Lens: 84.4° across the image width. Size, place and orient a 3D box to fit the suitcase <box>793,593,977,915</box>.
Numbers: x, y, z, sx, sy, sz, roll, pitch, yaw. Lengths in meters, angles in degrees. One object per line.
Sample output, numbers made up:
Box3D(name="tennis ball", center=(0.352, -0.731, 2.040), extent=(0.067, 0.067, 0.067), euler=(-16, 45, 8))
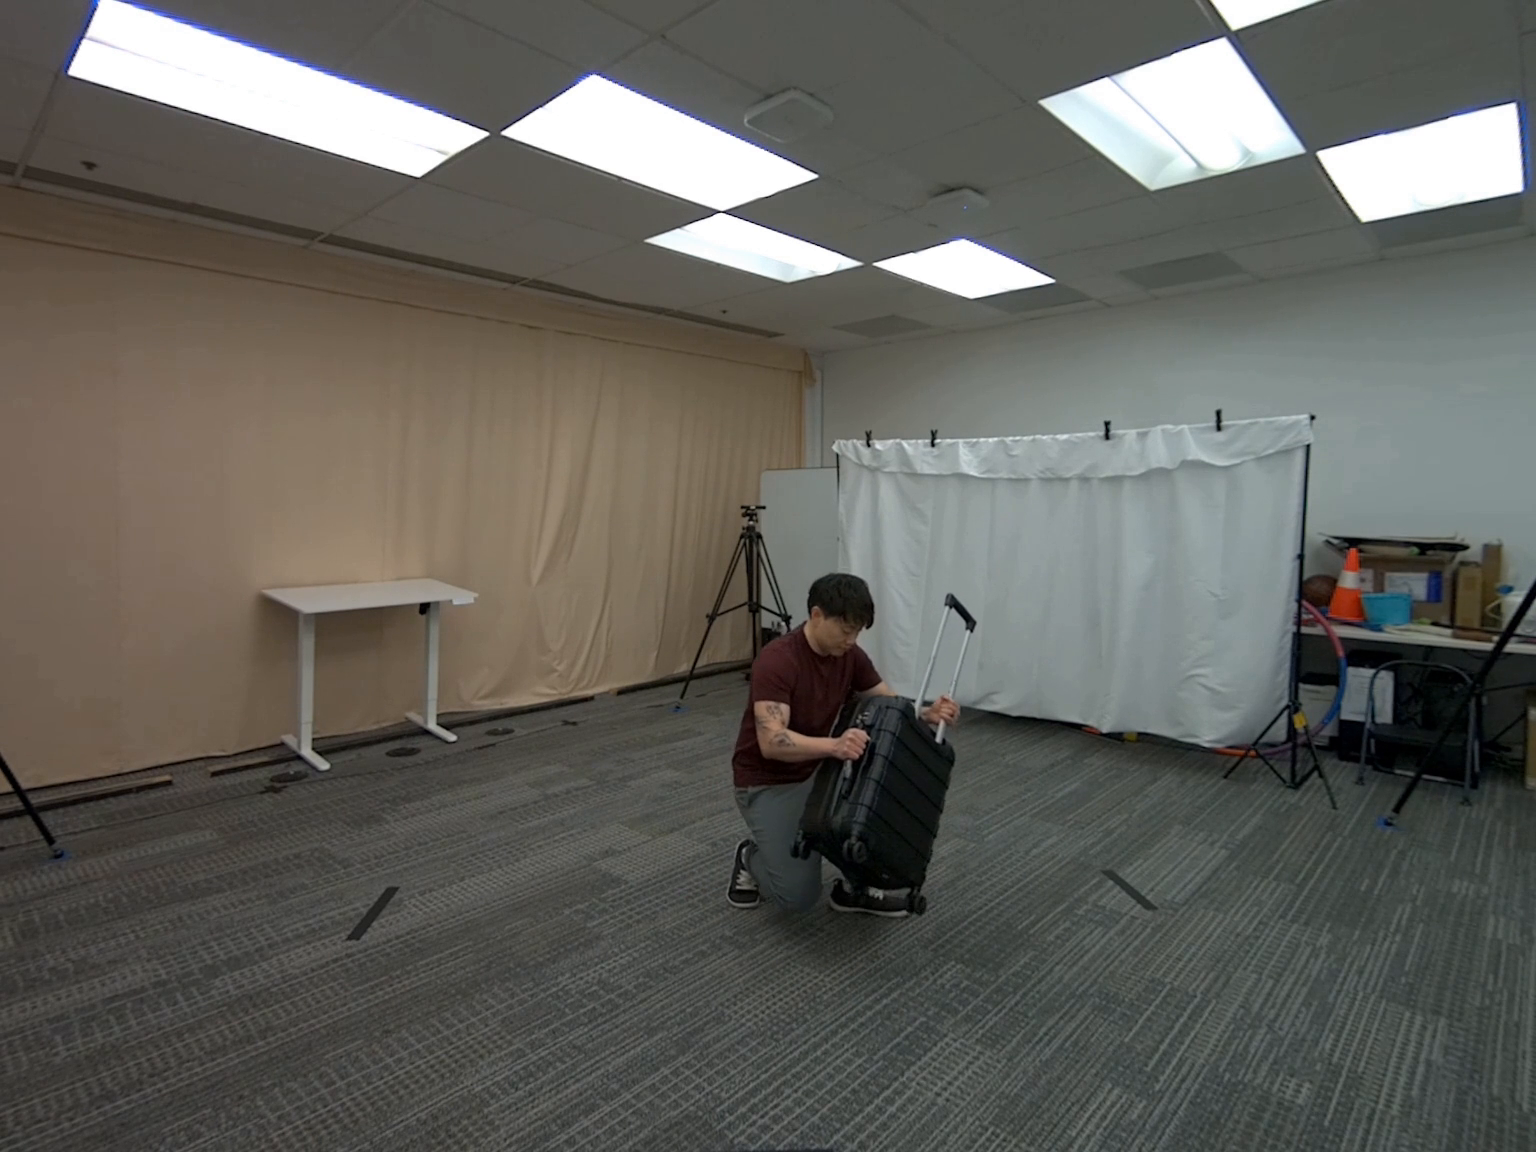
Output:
Box3D(name="suitcase", center=(0.418, 0.499, 2.653), extent=(0.263, 0.980, 0.374), euler=(-17, -52, 46))
